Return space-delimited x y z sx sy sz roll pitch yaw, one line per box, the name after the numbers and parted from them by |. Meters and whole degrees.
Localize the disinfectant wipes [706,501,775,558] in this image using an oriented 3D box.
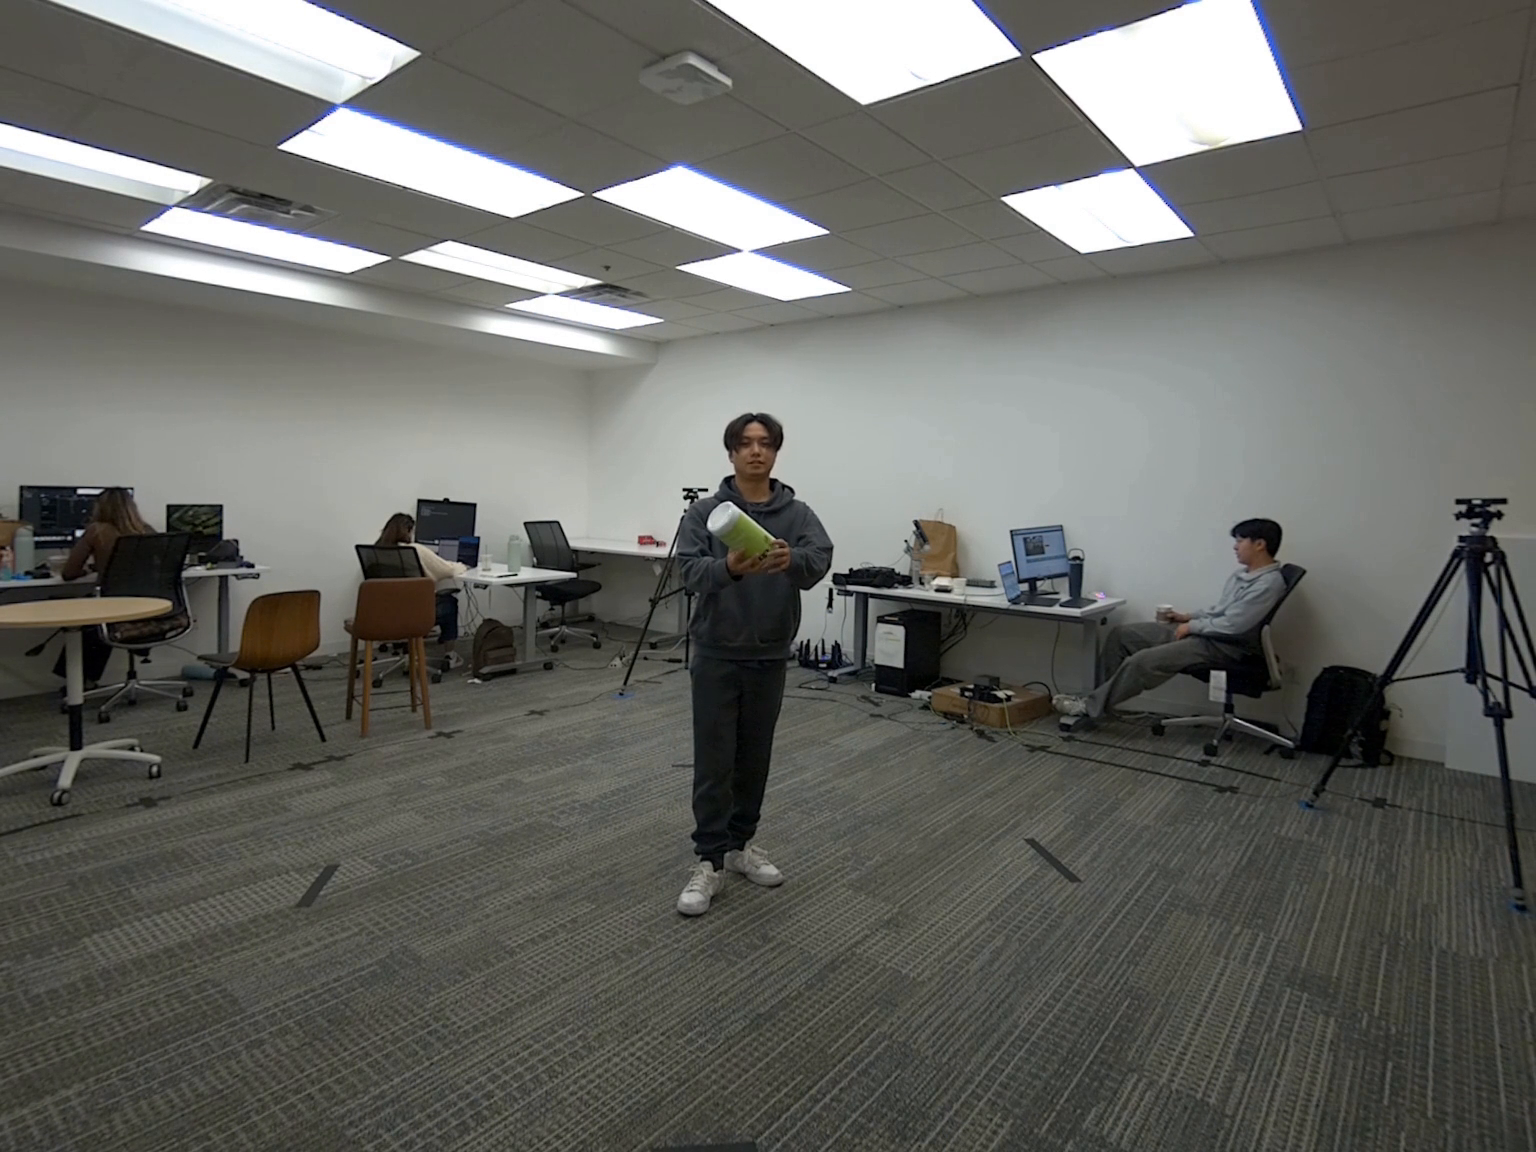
-0.090 -0.128 2.563 0.209 0.118 0.121 40 -19 -31 | disinfectant wipes
